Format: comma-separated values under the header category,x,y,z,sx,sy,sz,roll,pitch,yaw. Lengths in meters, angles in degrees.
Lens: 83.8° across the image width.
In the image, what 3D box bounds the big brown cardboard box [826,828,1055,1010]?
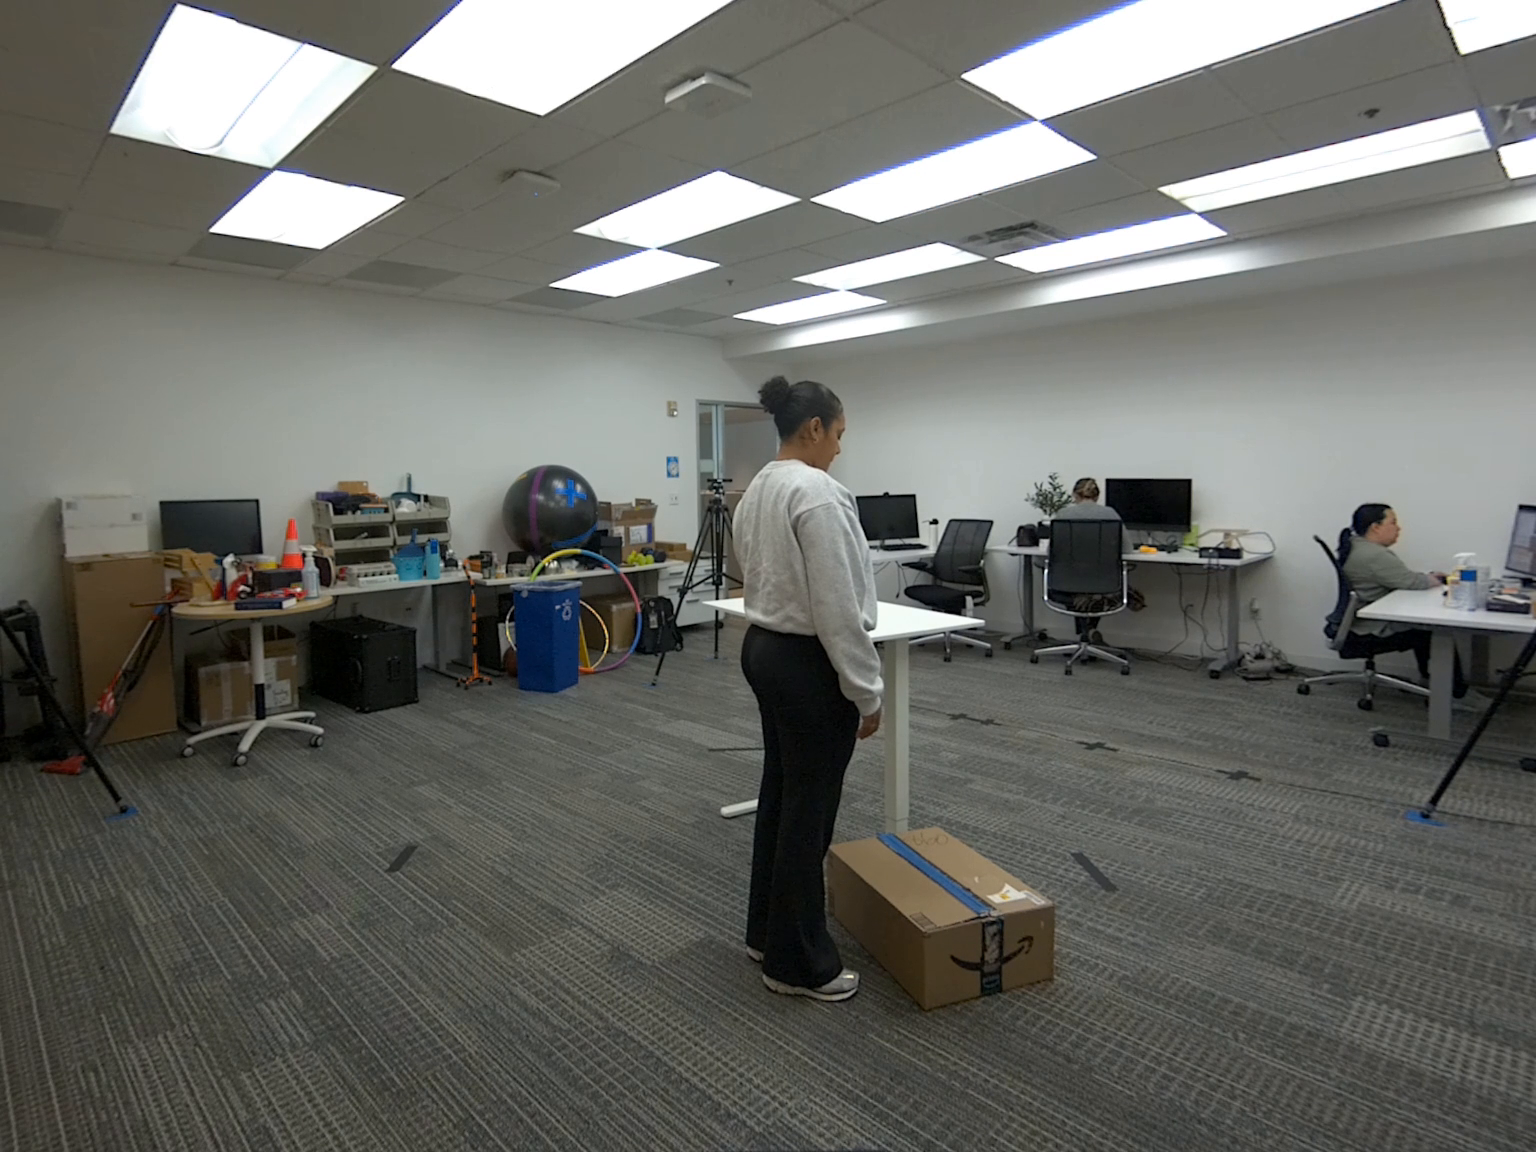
category,x,y,z,sx,sy,sz,roll,pitch,yaw
big brown cardboard box,0.498,0.990,2.548,0.410,0.232,0.602,-4,6,-22
